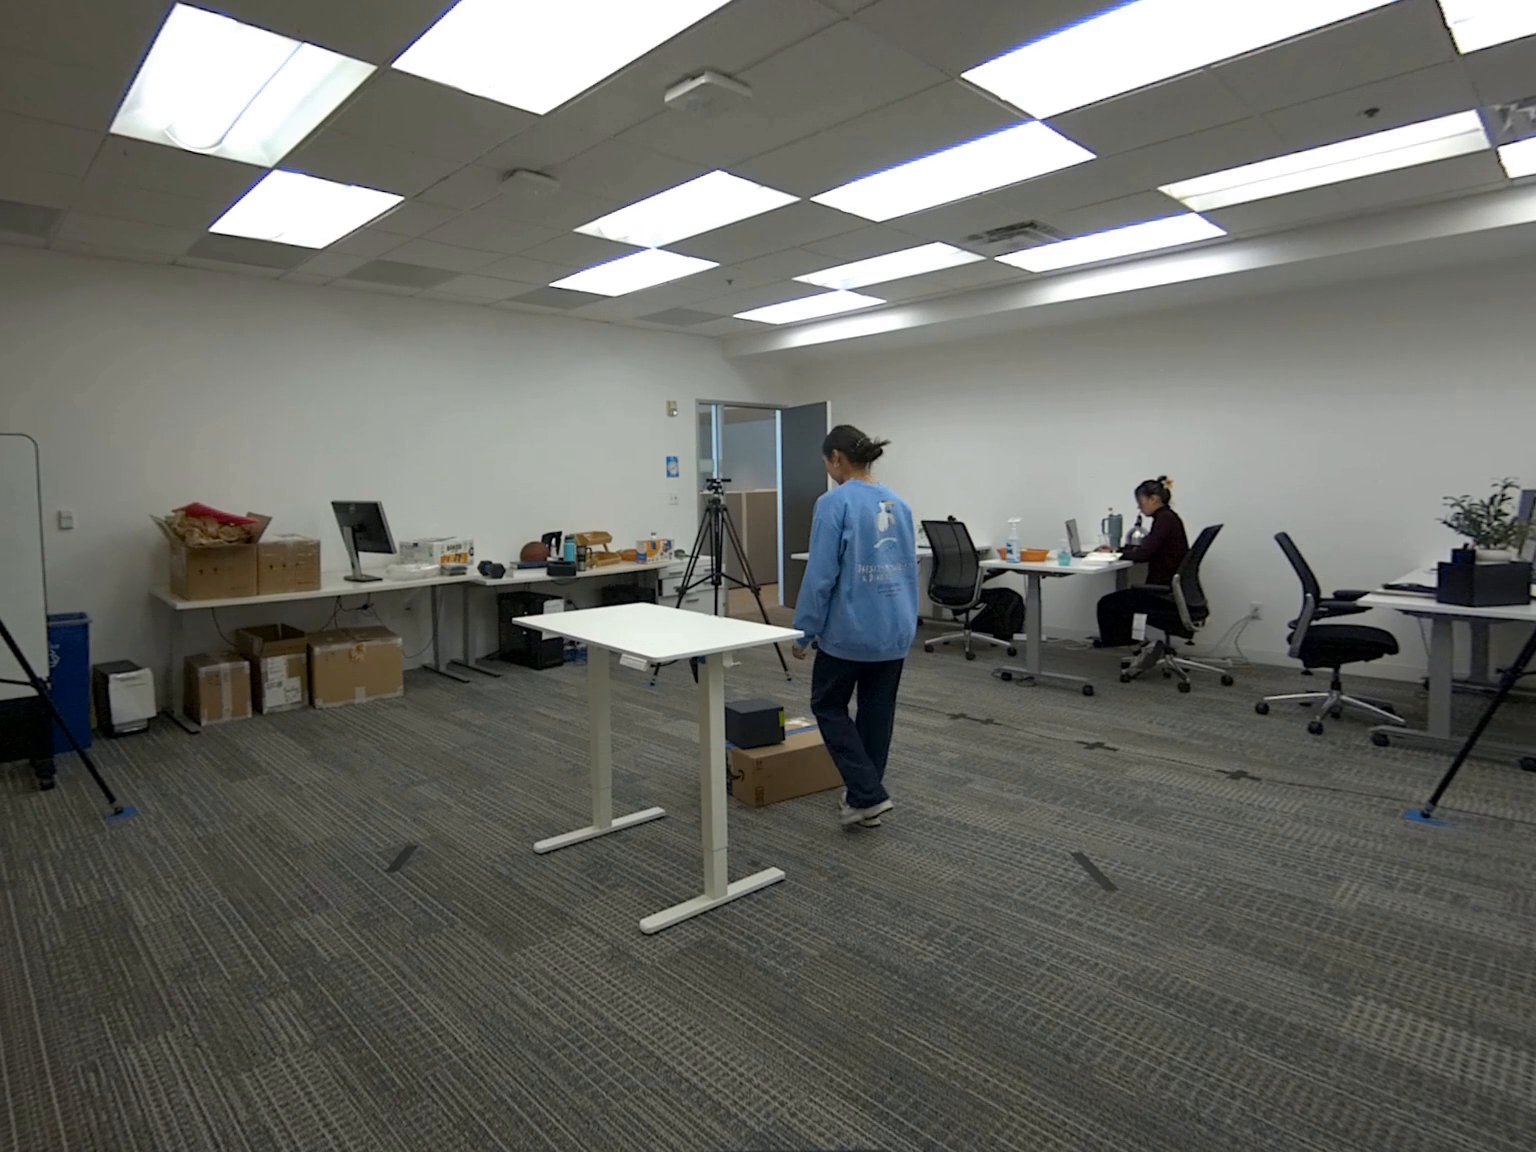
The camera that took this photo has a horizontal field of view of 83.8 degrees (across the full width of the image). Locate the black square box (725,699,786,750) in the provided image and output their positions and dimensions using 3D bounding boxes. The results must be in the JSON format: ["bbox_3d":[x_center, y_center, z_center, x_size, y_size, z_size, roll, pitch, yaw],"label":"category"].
[{"bbox_3d":[-0.067,0.655,3.854,0.212,0.155,0.233,-4,3,-25],"label":"black square box"}]
